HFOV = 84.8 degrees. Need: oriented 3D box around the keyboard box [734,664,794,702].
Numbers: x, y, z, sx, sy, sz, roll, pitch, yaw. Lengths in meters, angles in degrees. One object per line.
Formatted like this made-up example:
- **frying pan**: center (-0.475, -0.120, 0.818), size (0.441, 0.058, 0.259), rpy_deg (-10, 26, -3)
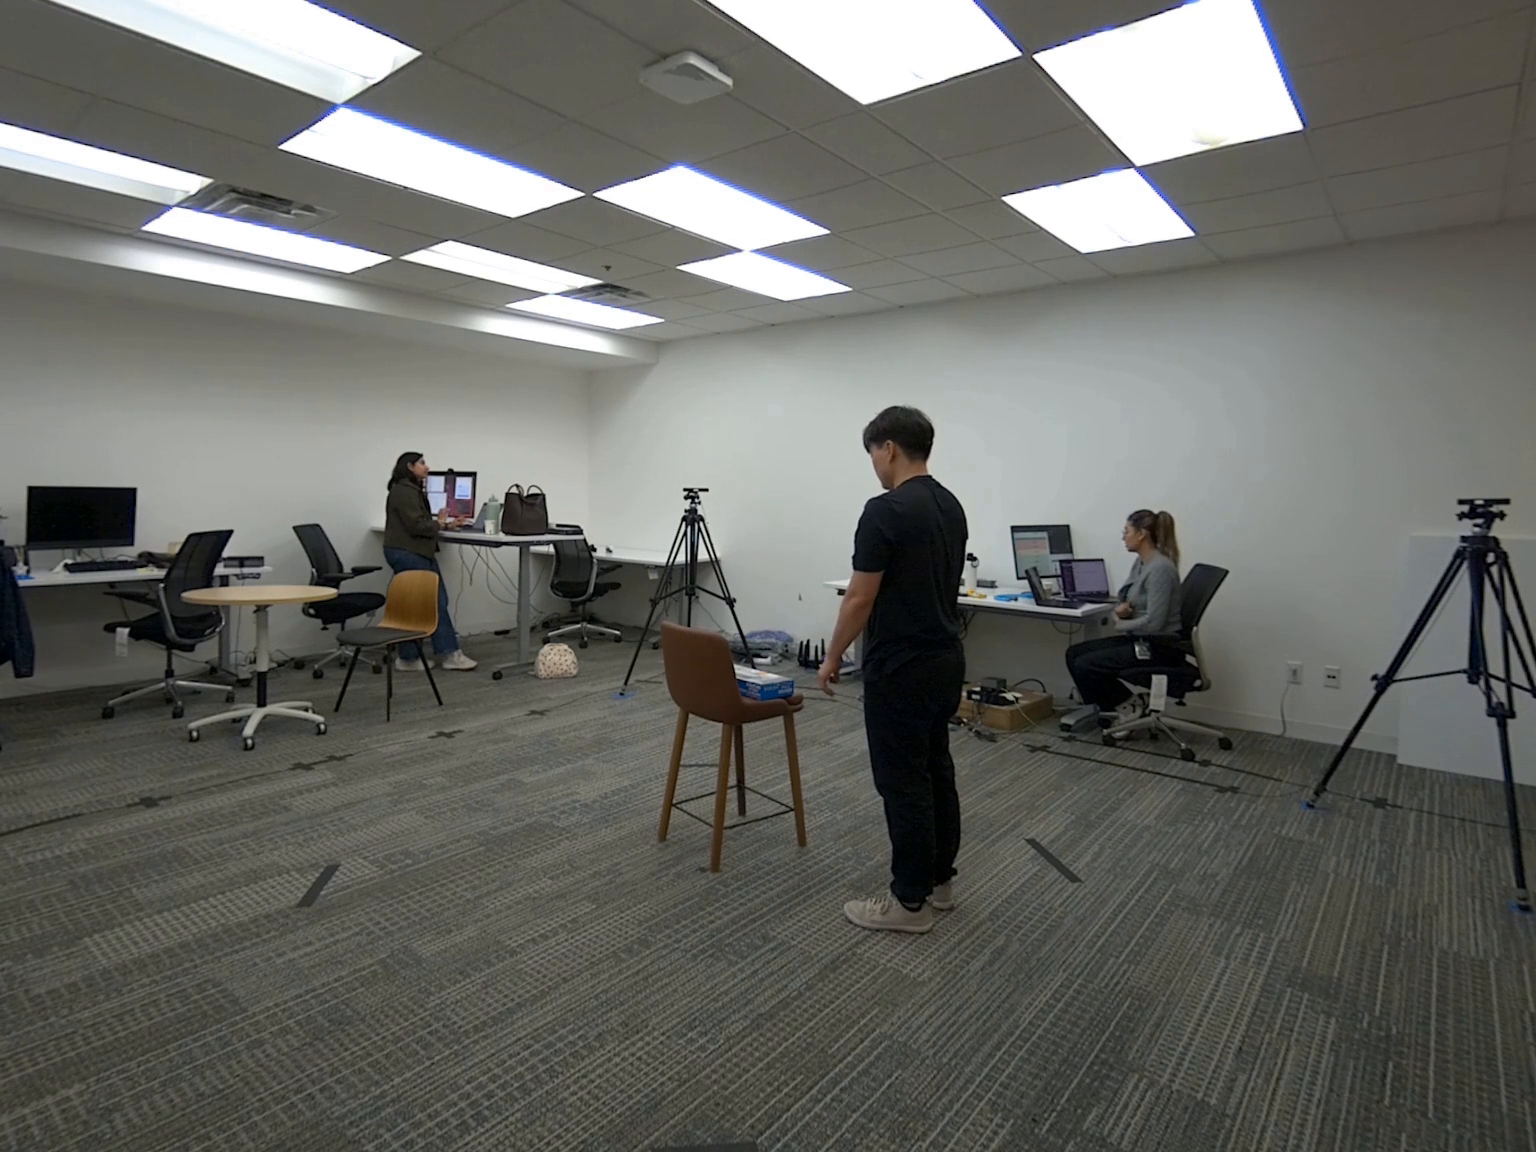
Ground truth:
- **keyboard box**: center (-0.116, 0.405, 3.352), size (0.170, 0.059, 0.452), rpy_deg (-3, 7, -41)
